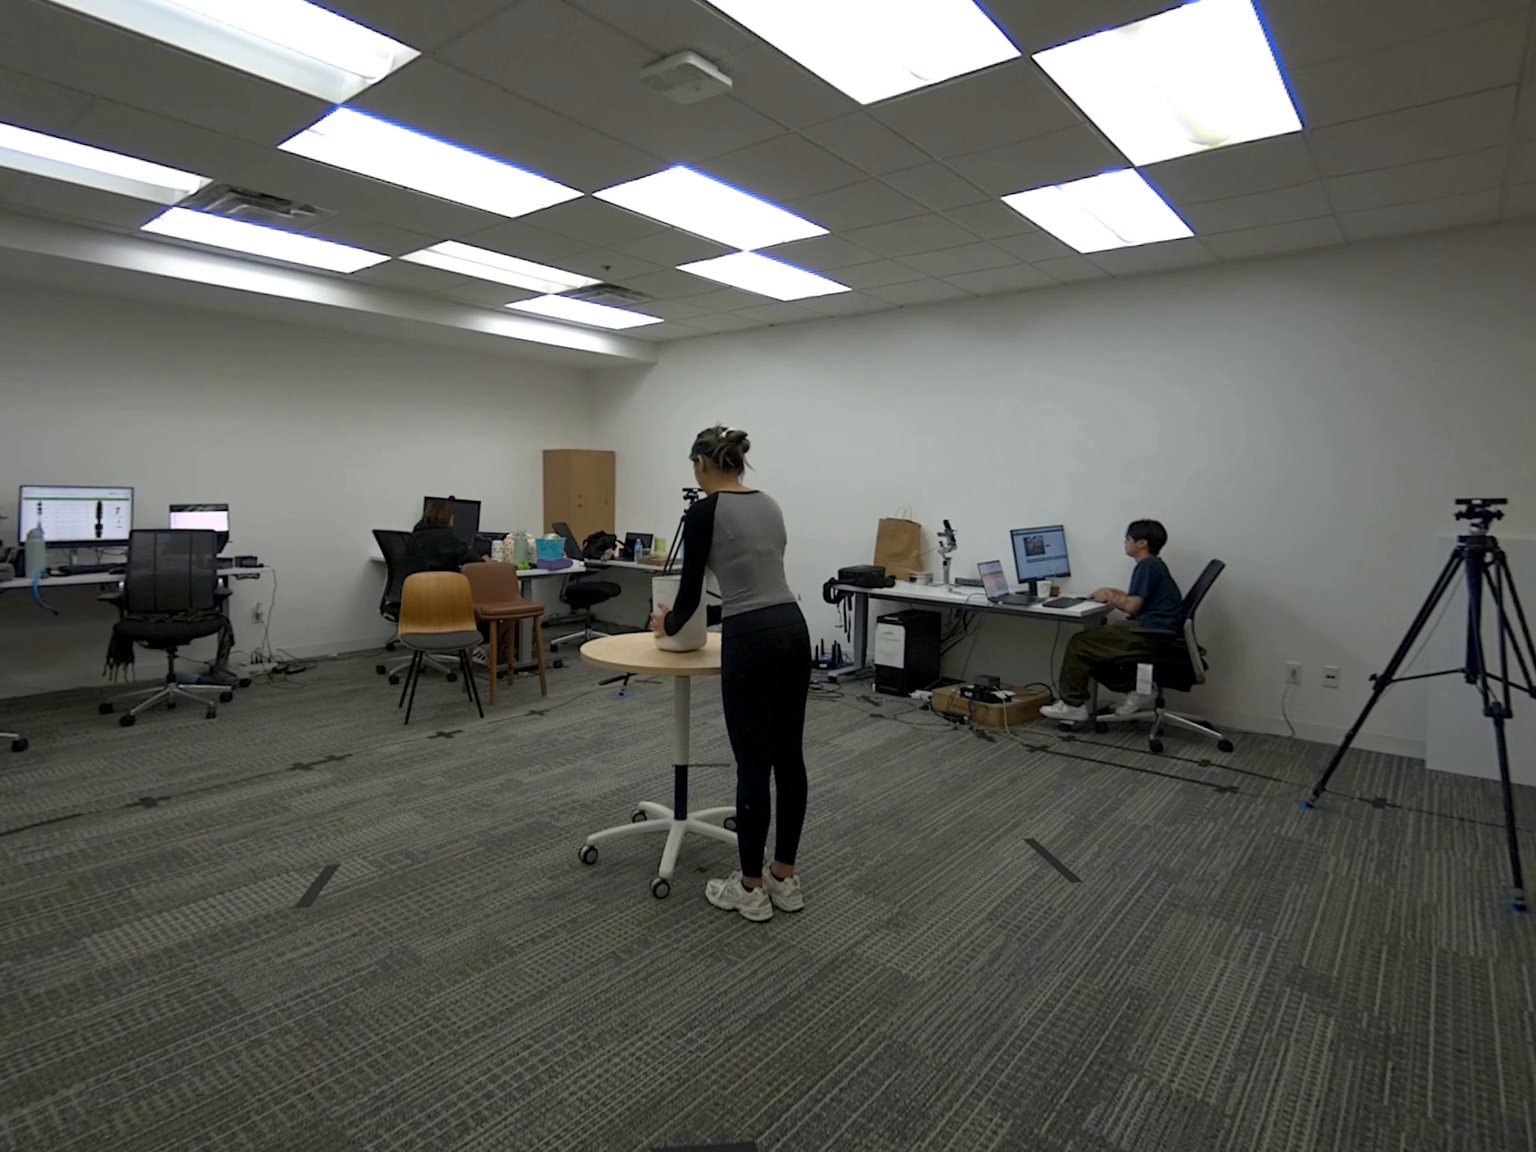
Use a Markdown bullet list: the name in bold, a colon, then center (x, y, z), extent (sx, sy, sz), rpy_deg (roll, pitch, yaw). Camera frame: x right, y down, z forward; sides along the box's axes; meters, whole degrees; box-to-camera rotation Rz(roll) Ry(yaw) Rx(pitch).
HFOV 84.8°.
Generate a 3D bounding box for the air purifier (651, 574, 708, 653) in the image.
- **air purifier**: center (-0.338, 0.135, 3.169), extent (0.177, 0.265, 0.166), rpy_deg (2, 2, 41)
